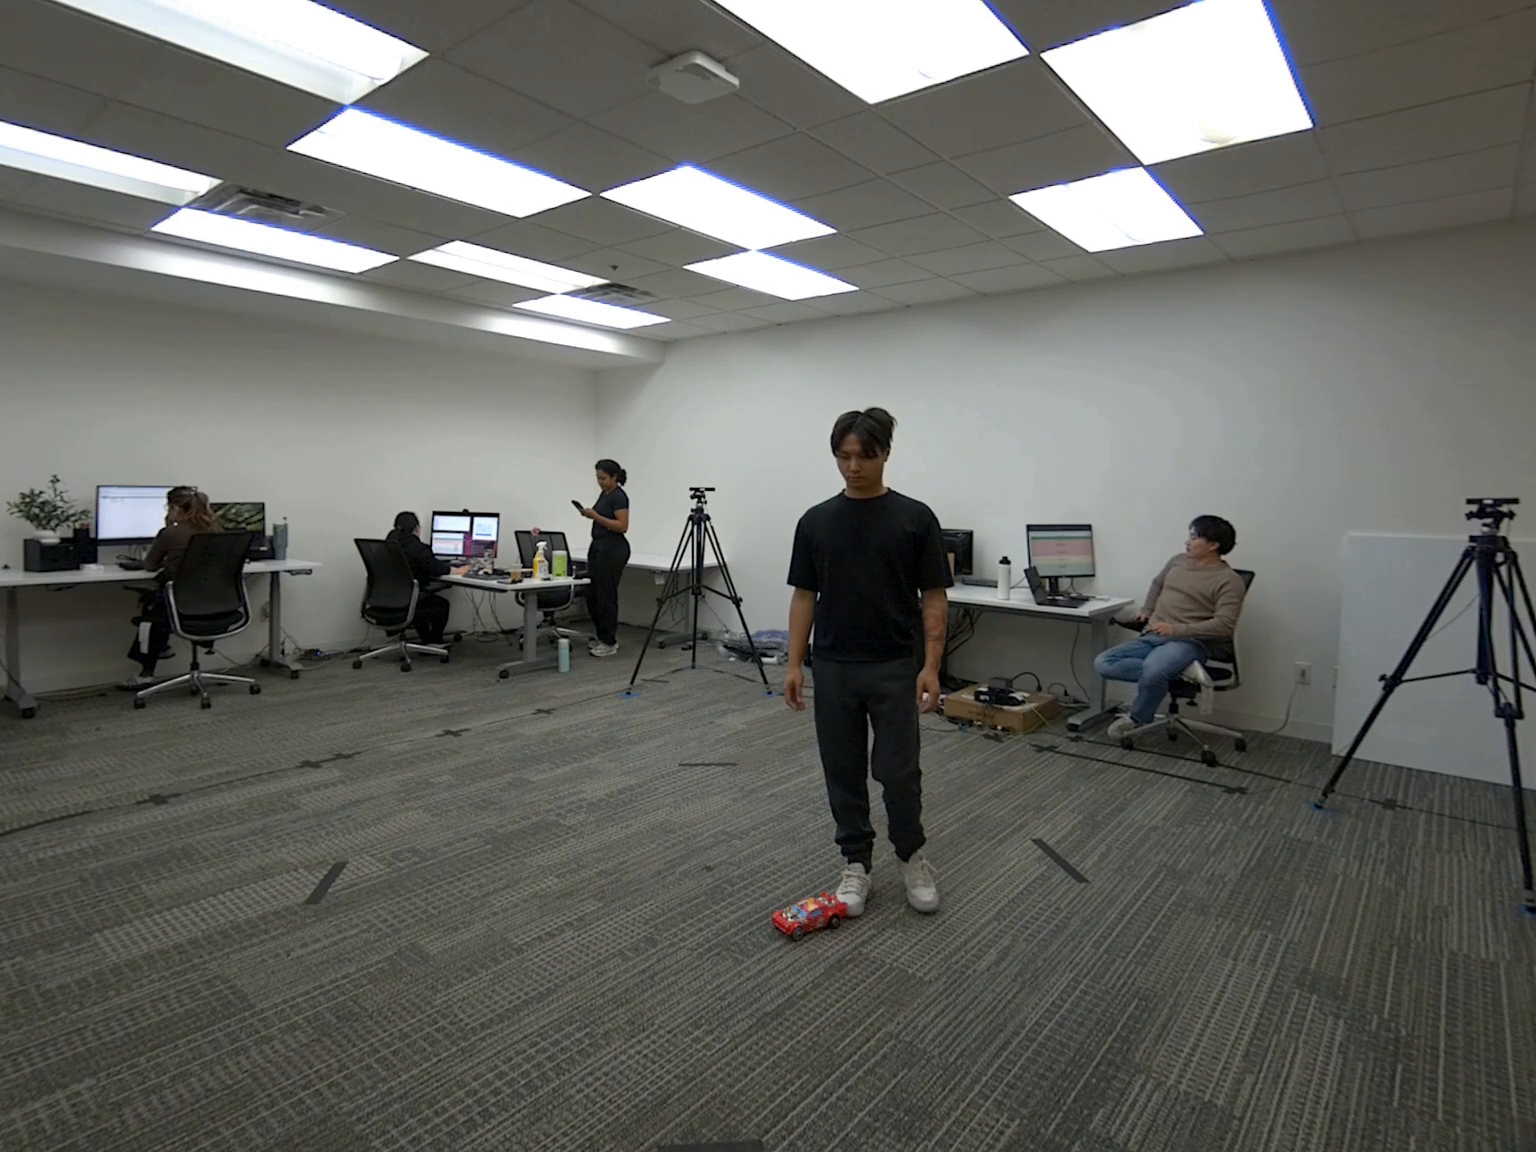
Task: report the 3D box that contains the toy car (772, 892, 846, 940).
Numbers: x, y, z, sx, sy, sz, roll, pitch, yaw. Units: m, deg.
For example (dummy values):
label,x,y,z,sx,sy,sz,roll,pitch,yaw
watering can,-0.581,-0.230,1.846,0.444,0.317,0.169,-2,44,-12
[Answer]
label,x,y,z,sx,sy,sz,roll,pitch,yaw
toy car,0.136,1.082,2.717,0.249,0.082,0.134,-15,13,-31
